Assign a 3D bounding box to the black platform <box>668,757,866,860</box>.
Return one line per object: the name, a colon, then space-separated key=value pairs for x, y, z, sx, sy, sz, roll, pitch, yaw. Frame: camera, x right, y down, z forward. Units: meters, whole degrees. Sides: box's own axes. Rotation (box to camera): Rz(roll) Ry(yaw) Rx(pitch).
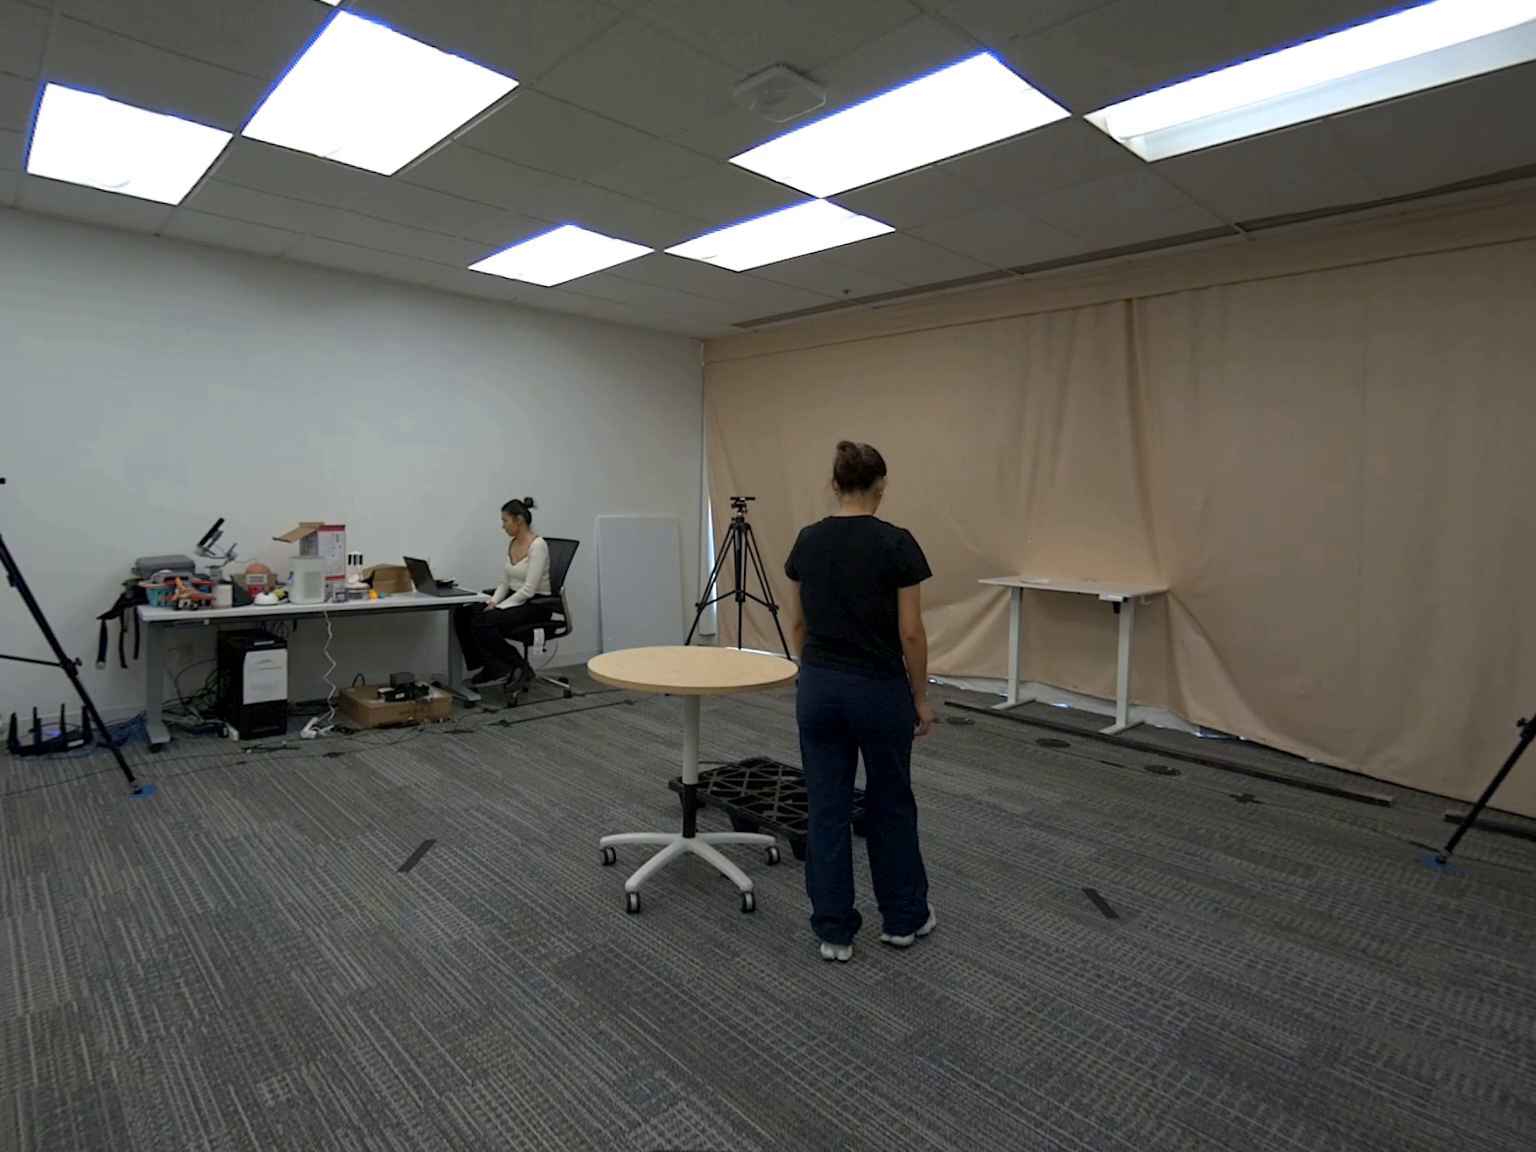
black platform: x=0.034 y=0.998 z=3.646 sx=0.826 sy=0.143 sz=0.591 roll=6 pitch=7 yaw=45
